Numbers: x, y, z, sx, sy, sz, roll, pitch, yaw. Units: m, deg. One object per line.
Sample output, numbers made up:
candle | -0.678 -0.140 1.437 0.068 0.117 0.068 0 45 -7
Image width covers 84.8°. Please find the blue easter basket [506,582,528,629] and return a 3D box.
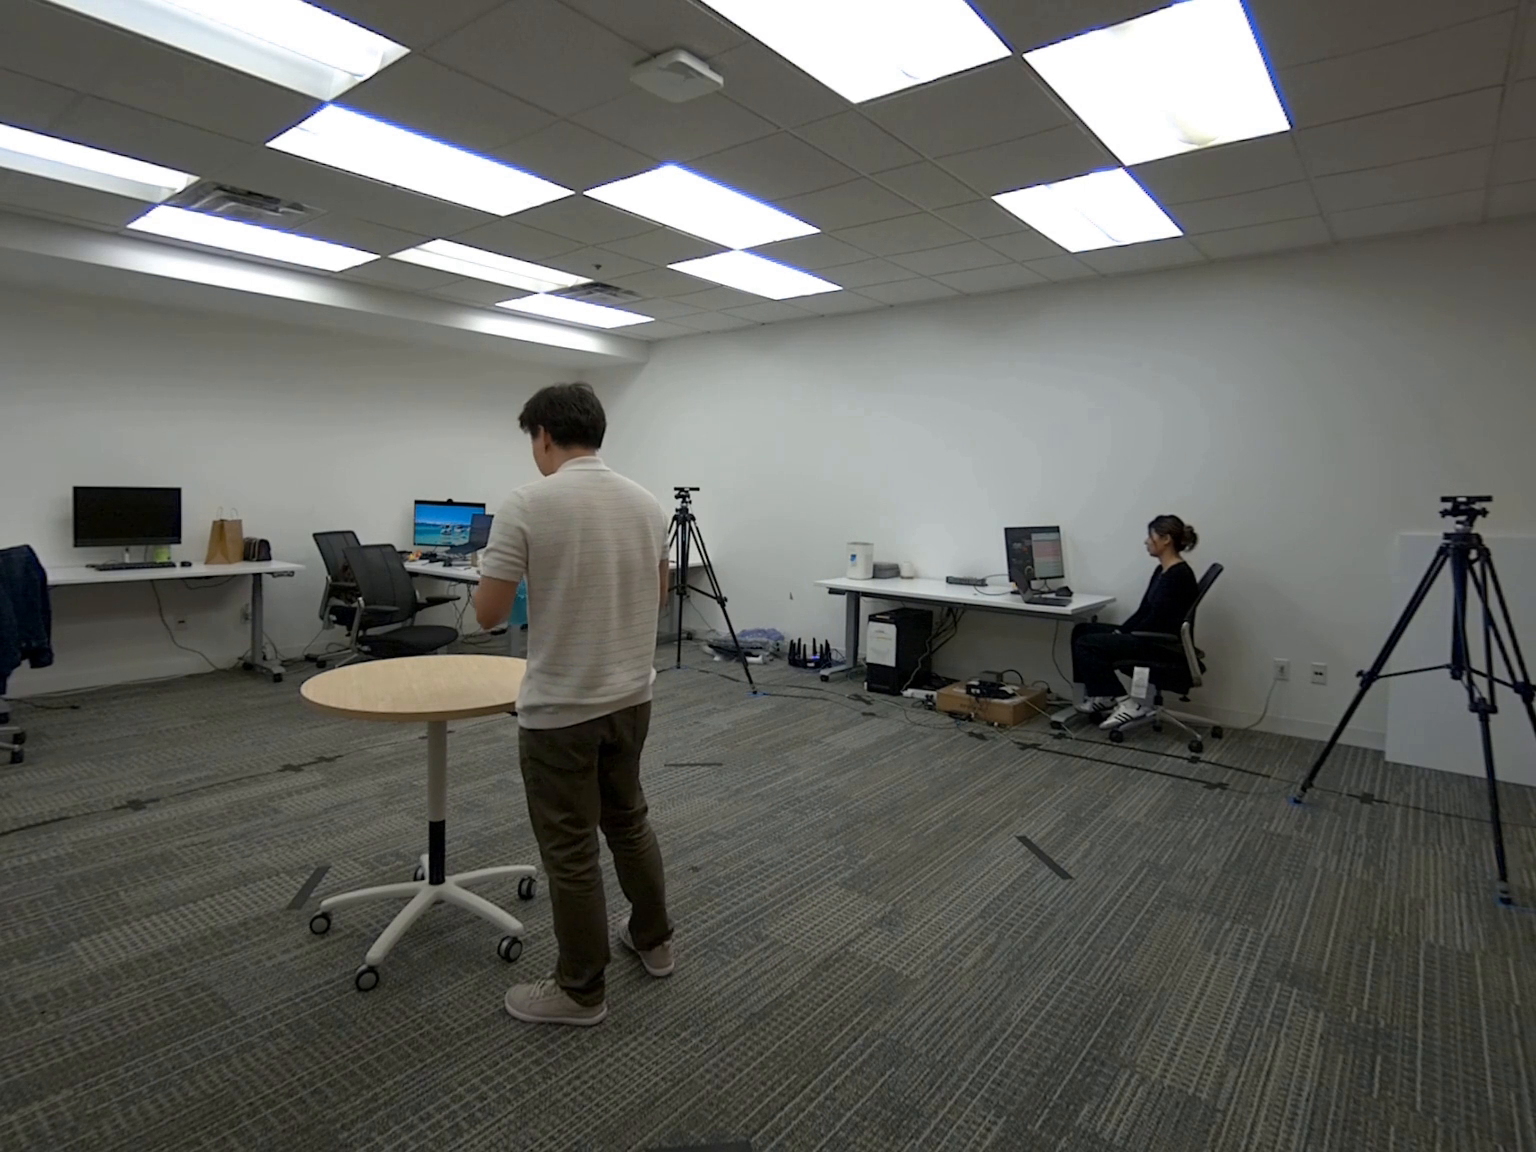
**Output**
blue easter basket | -0.684 0.060 2.421 0.243 0.156 0.243 -5 -1 -2
